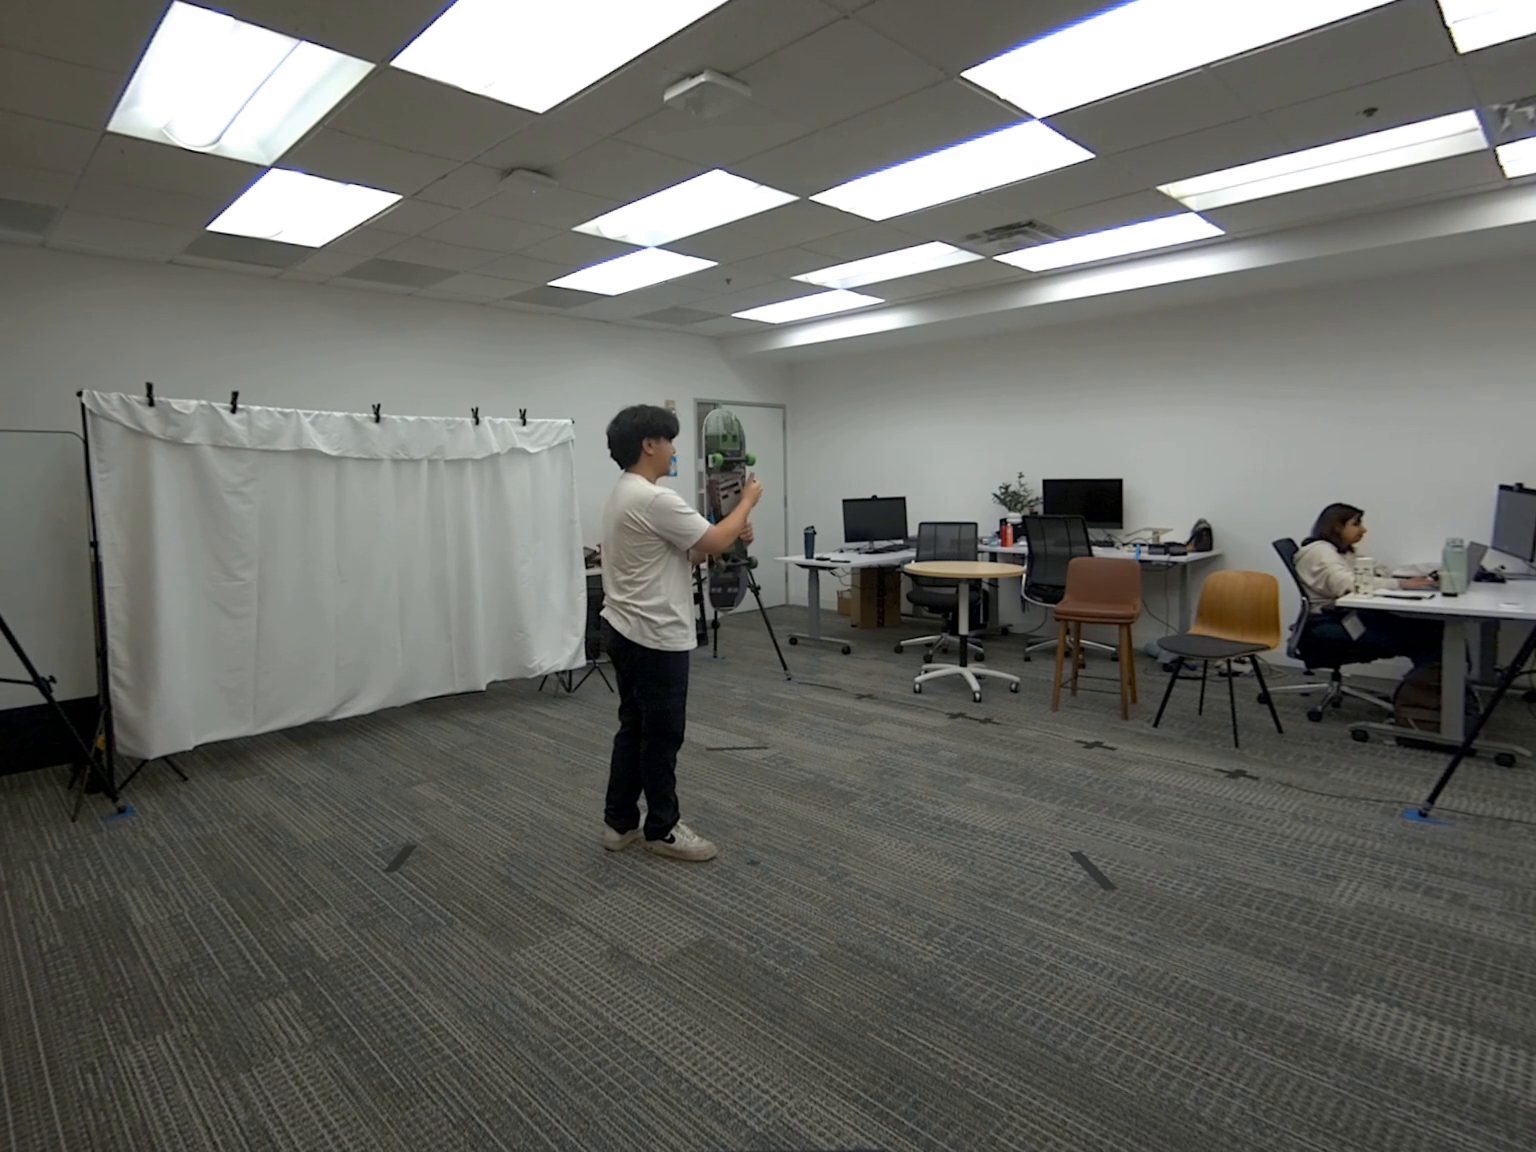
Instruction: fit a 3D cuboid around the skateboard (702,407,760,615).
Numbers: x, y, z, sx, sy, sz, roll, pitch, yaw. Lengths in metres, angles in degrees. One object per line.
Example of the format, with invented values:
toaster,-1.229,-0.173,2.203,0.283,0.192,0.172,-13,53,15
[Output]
skateboard,-0.142,-0.243,3.277,0.189,0.782,0.113,-4,5,-32
